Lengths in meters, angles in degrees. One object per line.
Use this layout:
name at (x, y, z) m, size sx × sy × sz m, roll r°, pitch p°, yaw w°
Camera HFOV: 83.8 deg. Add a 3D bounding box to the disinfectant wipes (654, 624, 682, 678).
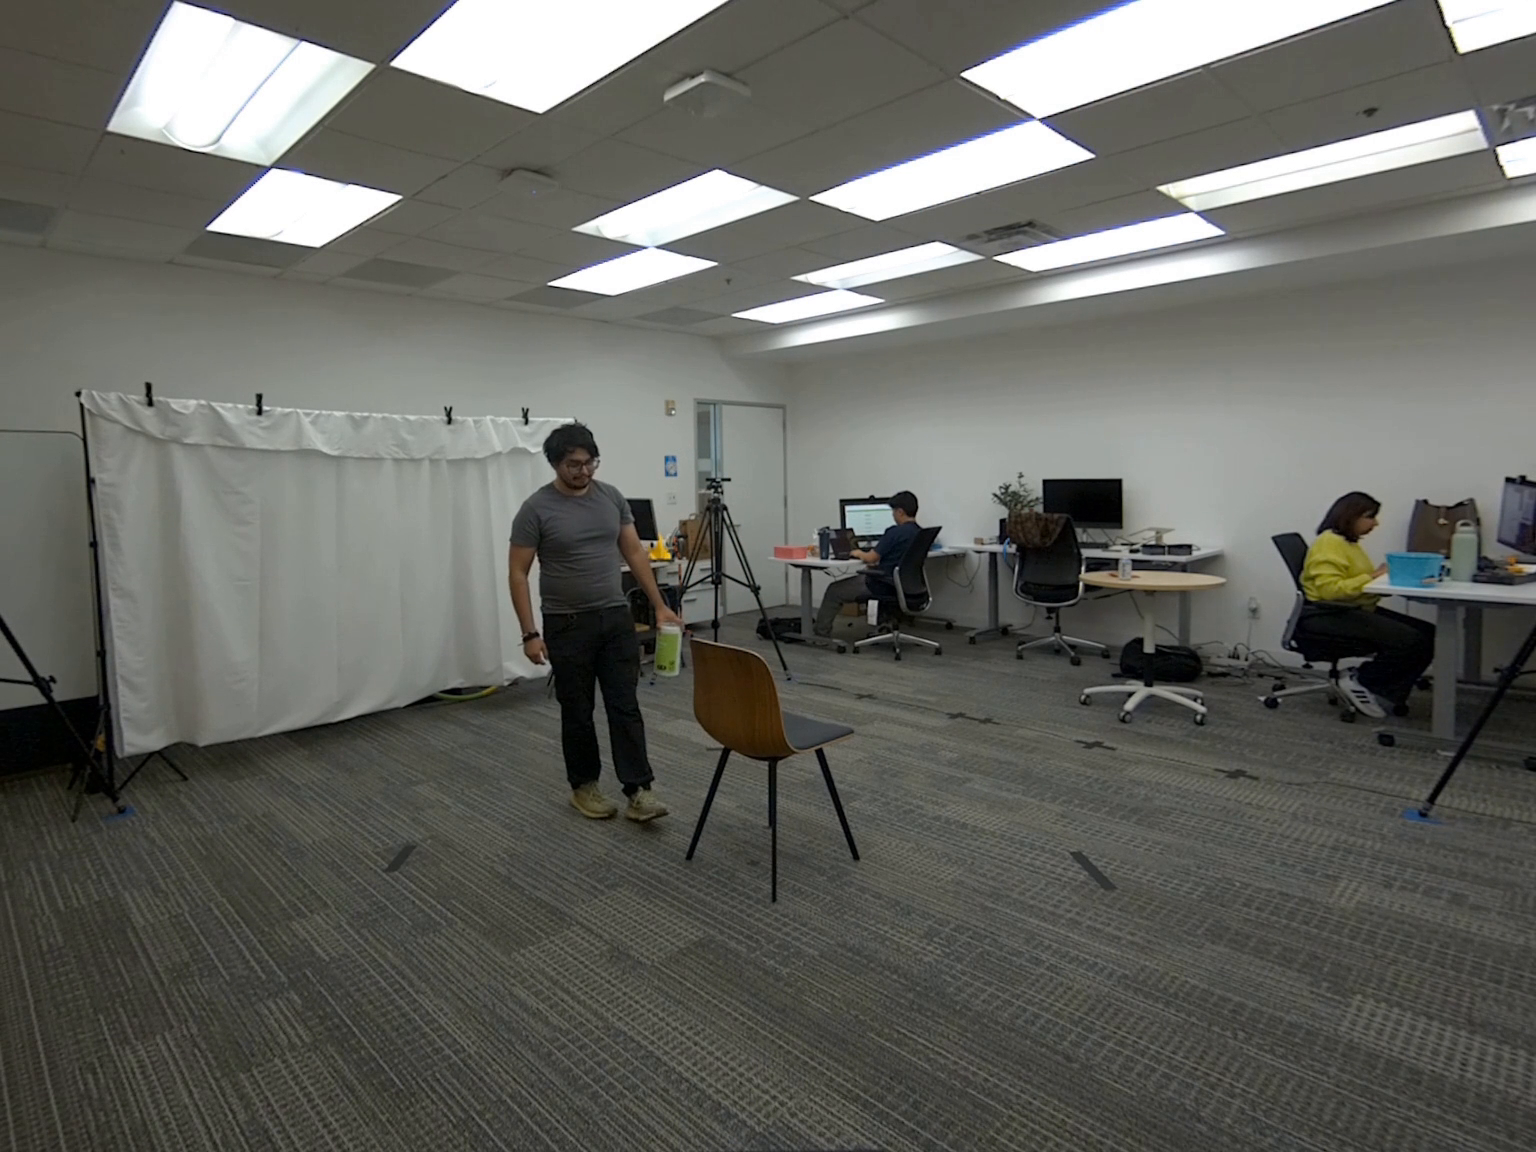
disinfectant wipes at (-0.431, 0.318, 3.655) m, size 0.117 × 0.216 × 0.118 m, roll 5°, pitch 6°, yaw -2°
